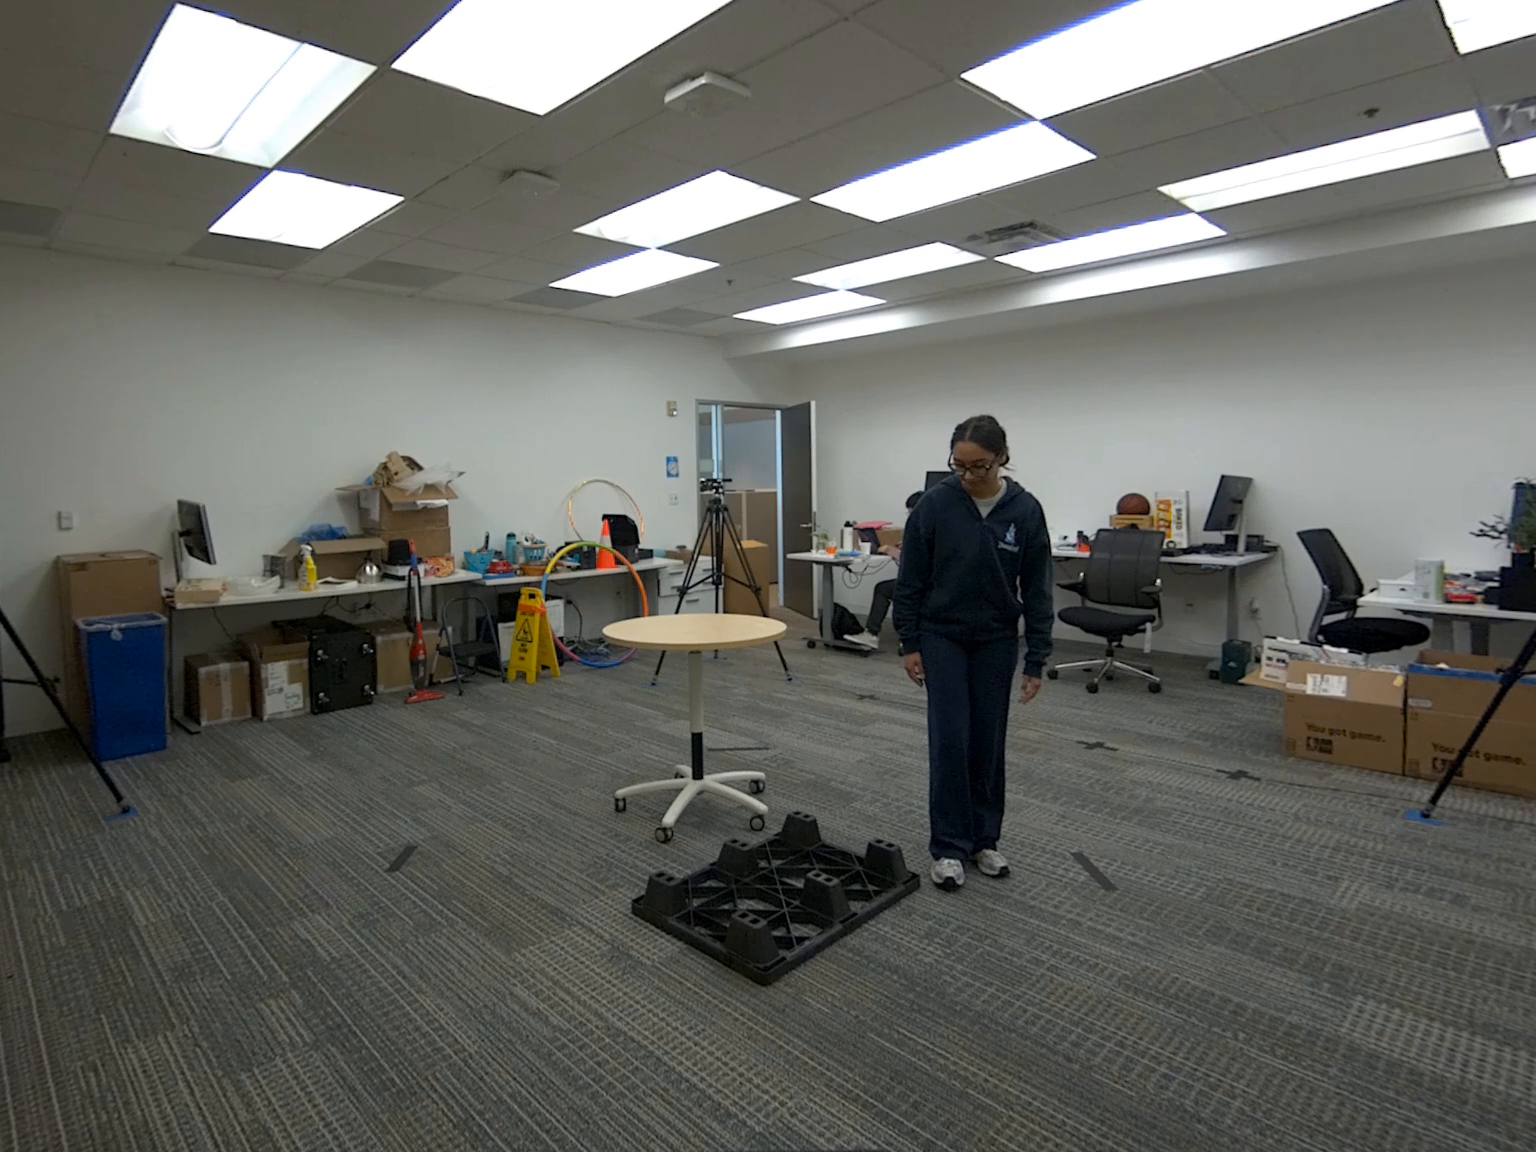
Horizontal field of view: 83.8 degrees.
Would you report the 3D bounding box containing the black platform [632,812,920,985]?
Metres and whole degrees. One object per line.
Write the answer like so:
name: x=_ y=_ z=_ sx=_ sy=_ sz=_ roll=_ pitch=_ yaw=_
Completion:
black platform: x=0.036 y=1.008 z=2.838 sx=0.624 sy=0.142 sz=0.784 roll=6 pitch=9 yaw=43
